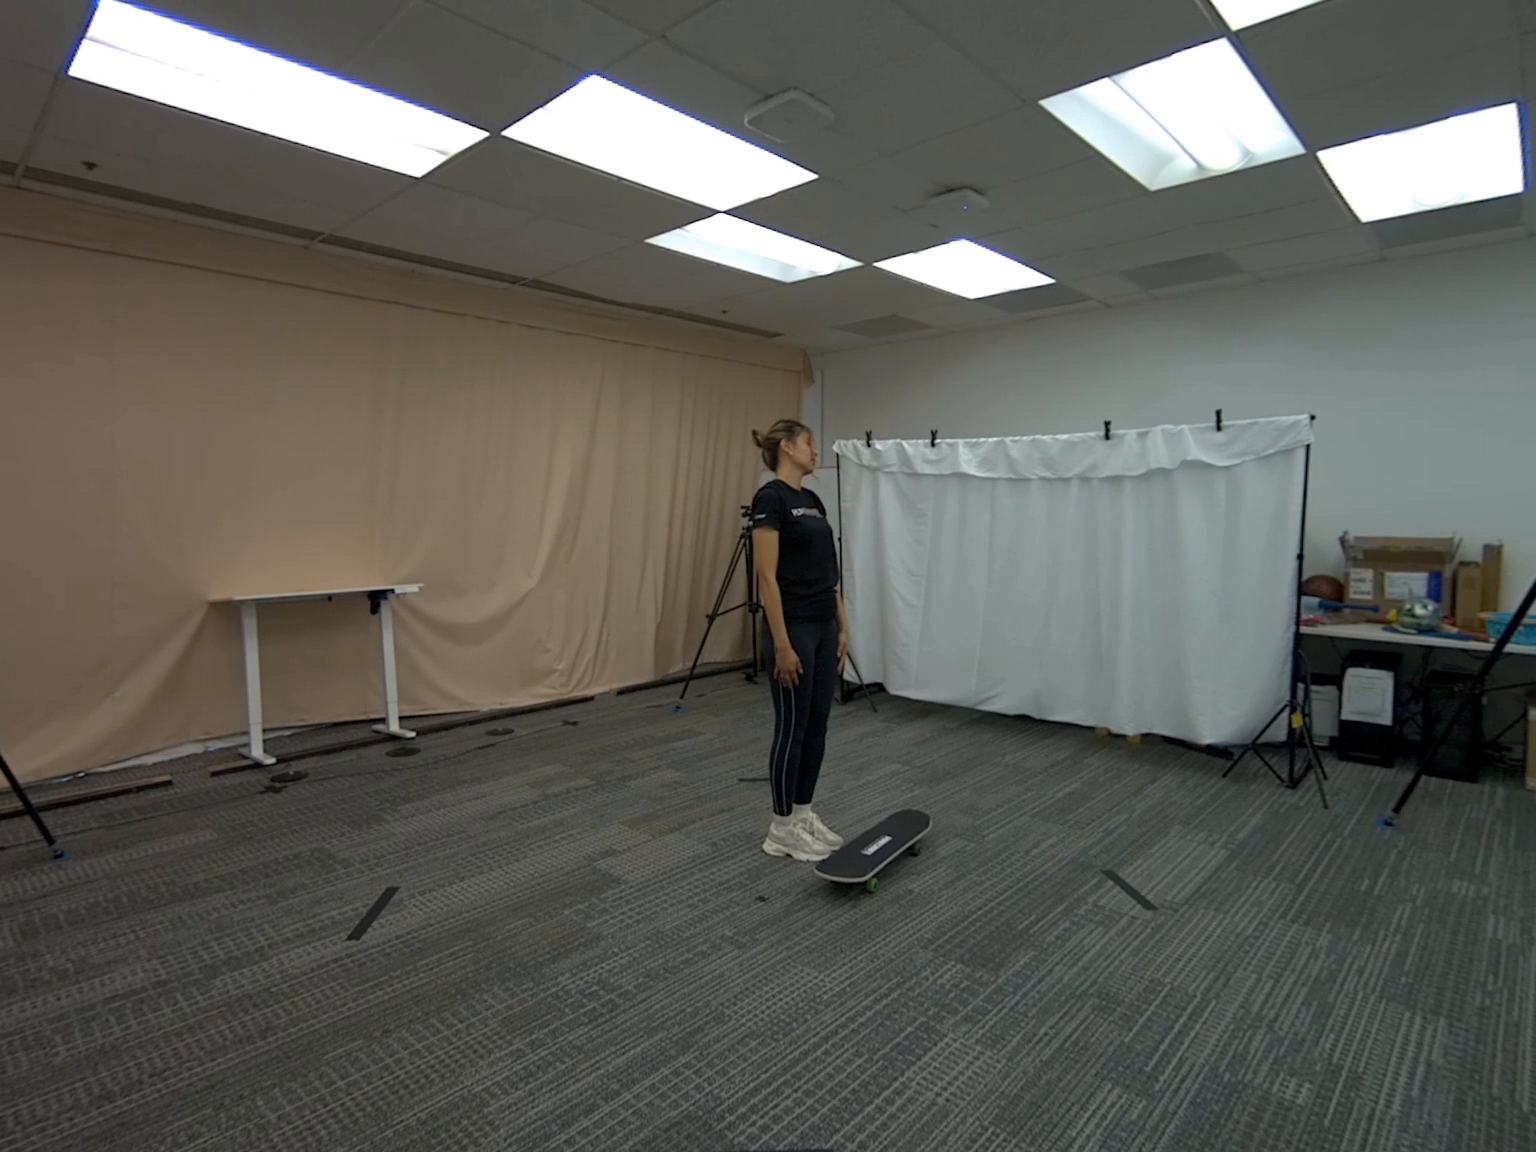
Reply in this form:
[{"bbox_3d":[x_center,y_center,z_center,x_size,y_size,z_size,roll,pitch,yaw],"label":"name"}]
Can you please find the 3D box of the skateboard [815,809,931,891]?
[{"bbox_3d":[0.421,1.064,3.233,0.199,0.110,0.763,2,5,34],"label":"skateboard"}]
